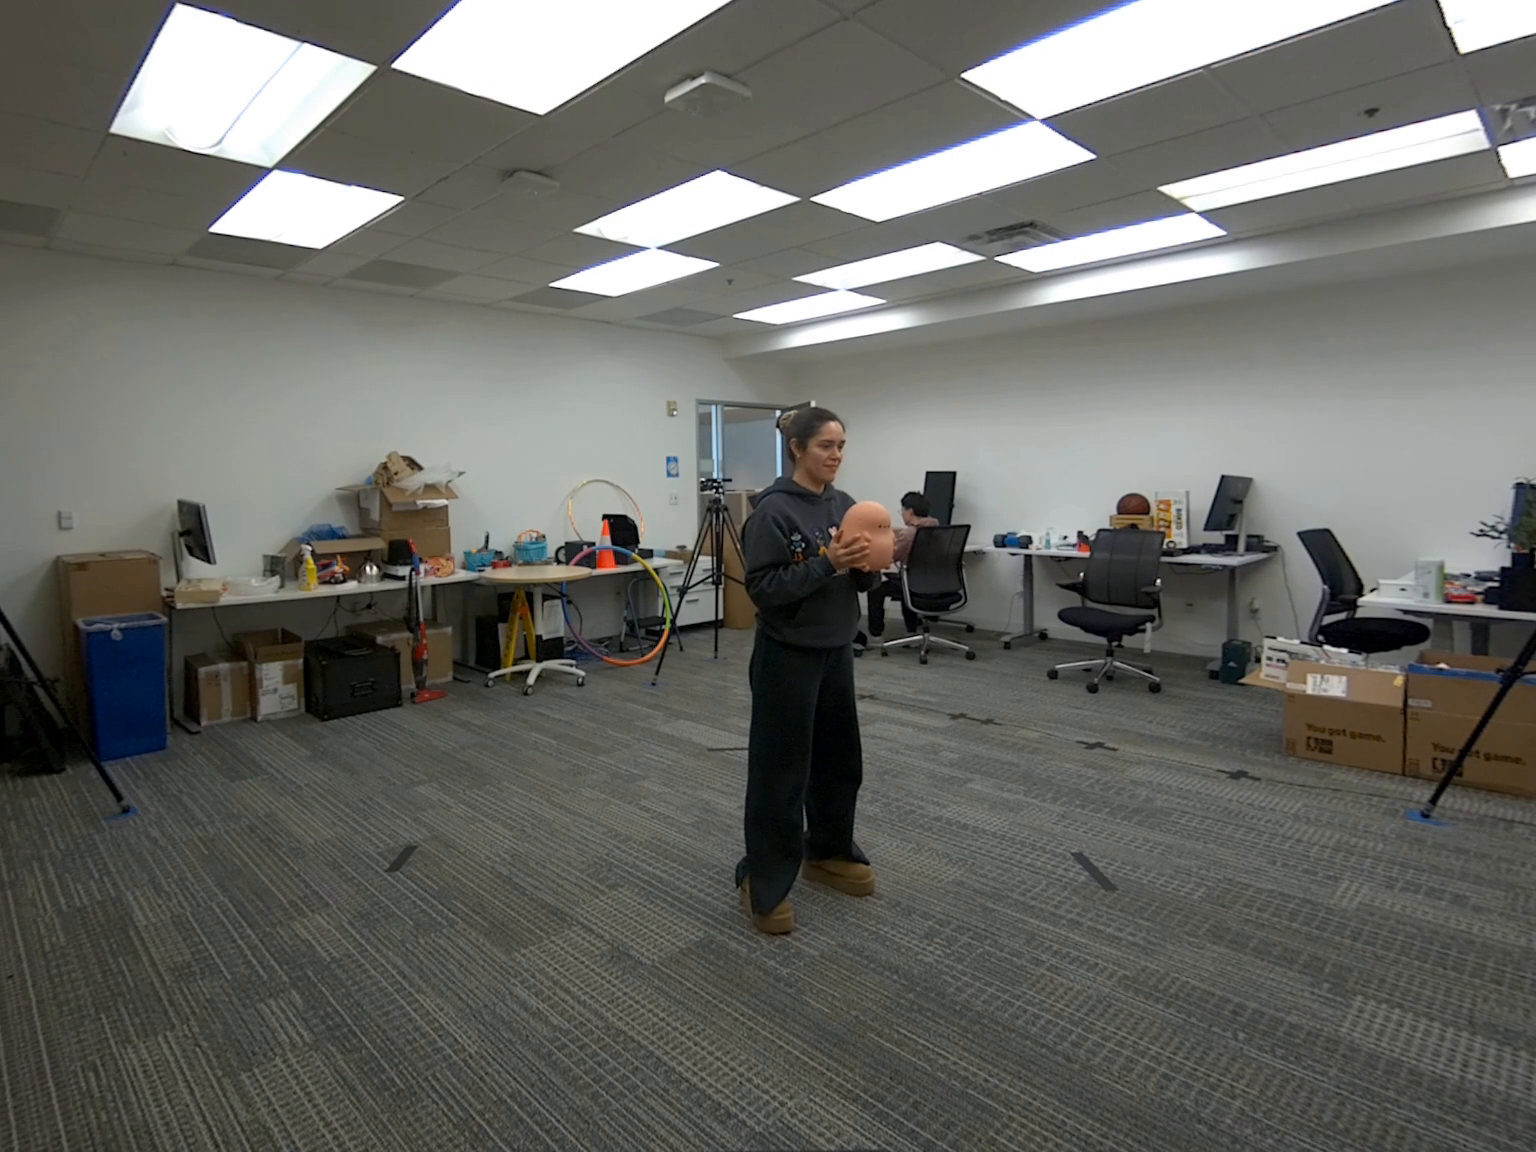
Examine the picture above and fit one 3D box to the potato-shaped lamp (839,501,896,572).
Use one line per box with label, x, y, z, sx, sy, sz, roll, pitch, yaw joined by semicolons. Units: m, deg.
potato-shaped lamp;0.284;-0.125;2.561;0.160;0.196;0.178;-2;19;-39
